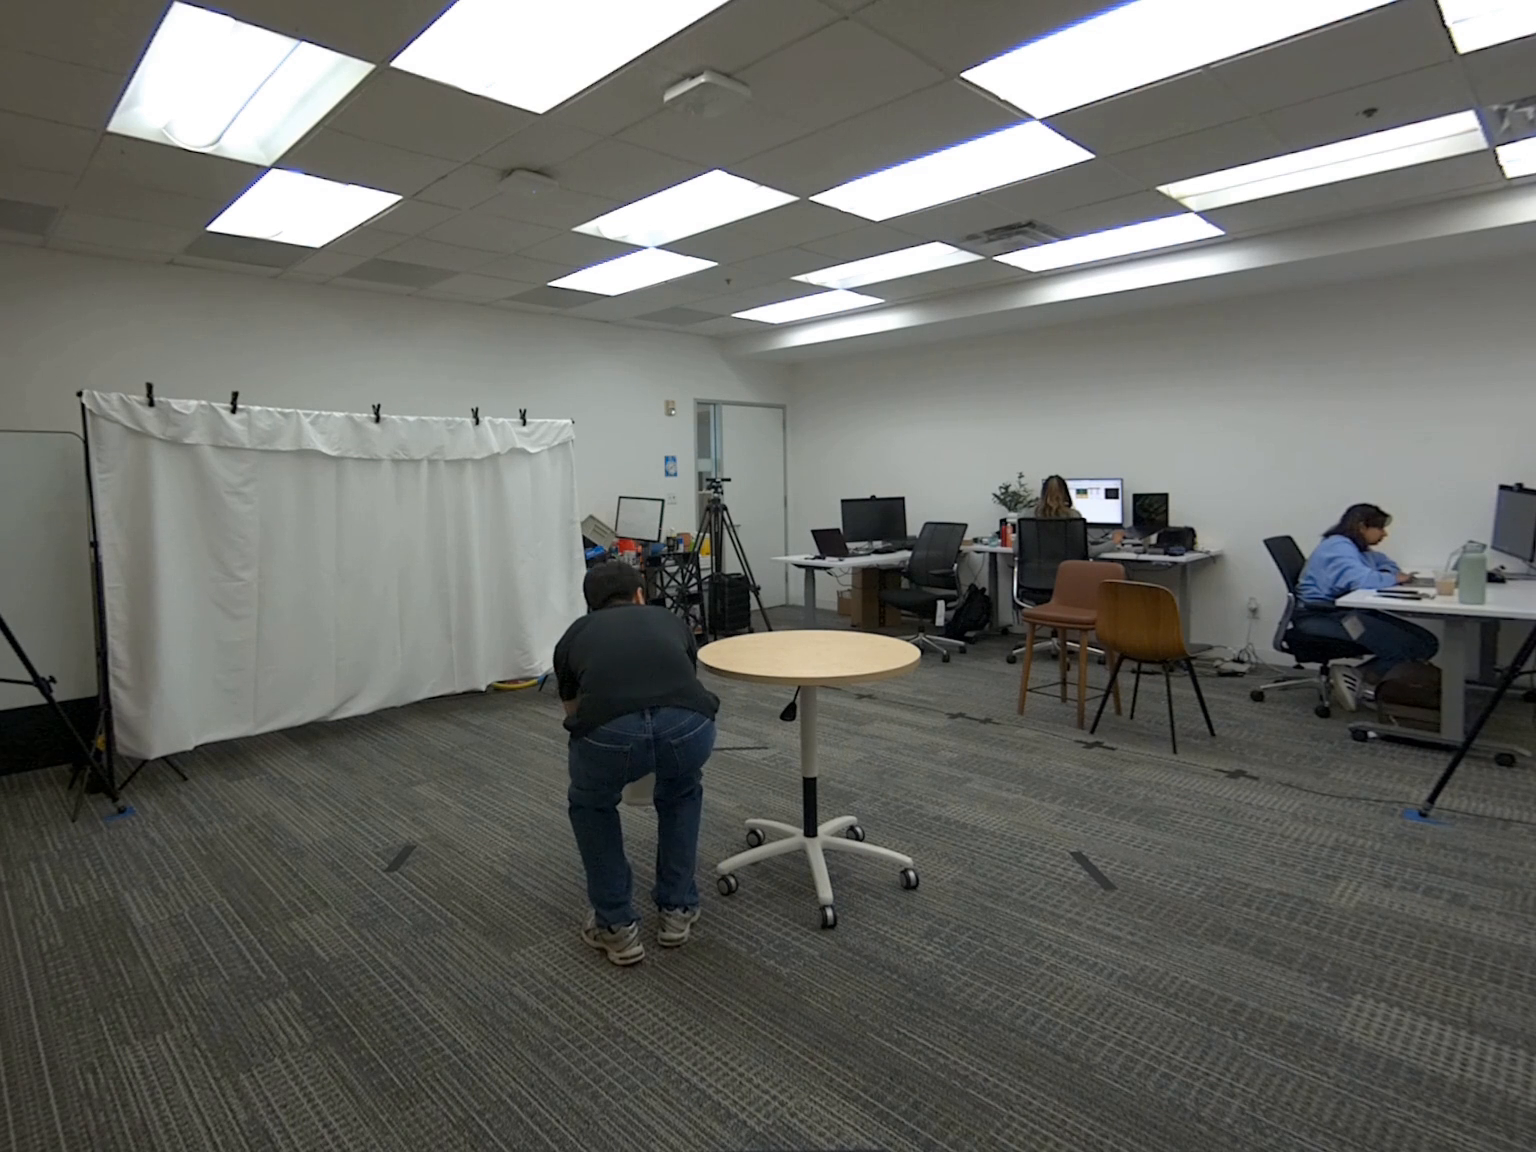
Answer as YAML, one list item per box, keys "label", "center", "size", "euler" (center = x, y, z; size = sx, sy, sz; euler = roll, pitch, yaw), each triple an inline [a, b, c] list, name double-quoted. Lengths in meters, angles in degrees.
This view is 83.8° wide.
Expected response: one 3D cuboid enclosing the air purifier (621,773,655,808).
- label: "air purifier"
  center: [-0.445, 0.692, 3.141]
  size: [0.171, 0.265, 0.171]
  euler: [-1, 0, -1]
